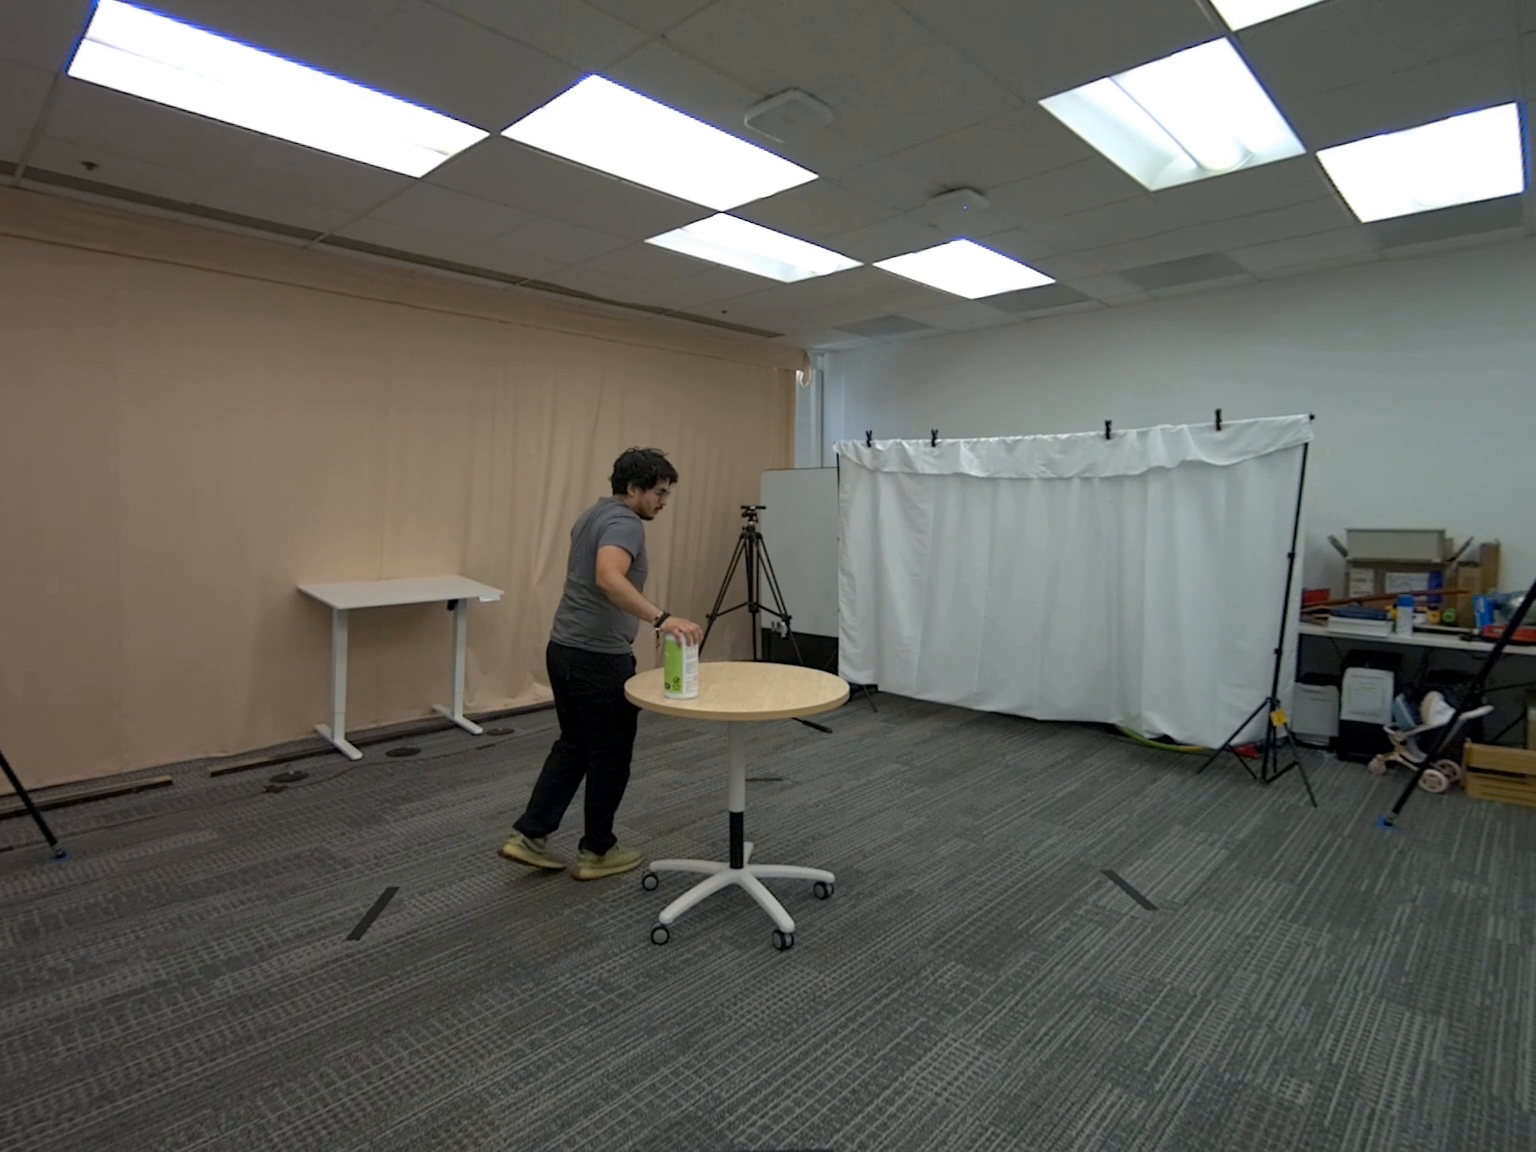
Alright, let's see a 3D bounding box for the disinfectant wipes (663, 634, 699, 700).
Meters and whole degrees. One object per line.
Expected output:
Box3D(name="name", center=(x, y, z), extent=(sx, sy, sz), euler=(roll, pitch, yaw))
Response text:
Box3D(name="disinfectant wipes", center=(-0.277, 0.281, 2.696), extent=(0.117, 0.217, 0.118), euler=(1, 5, -2))
